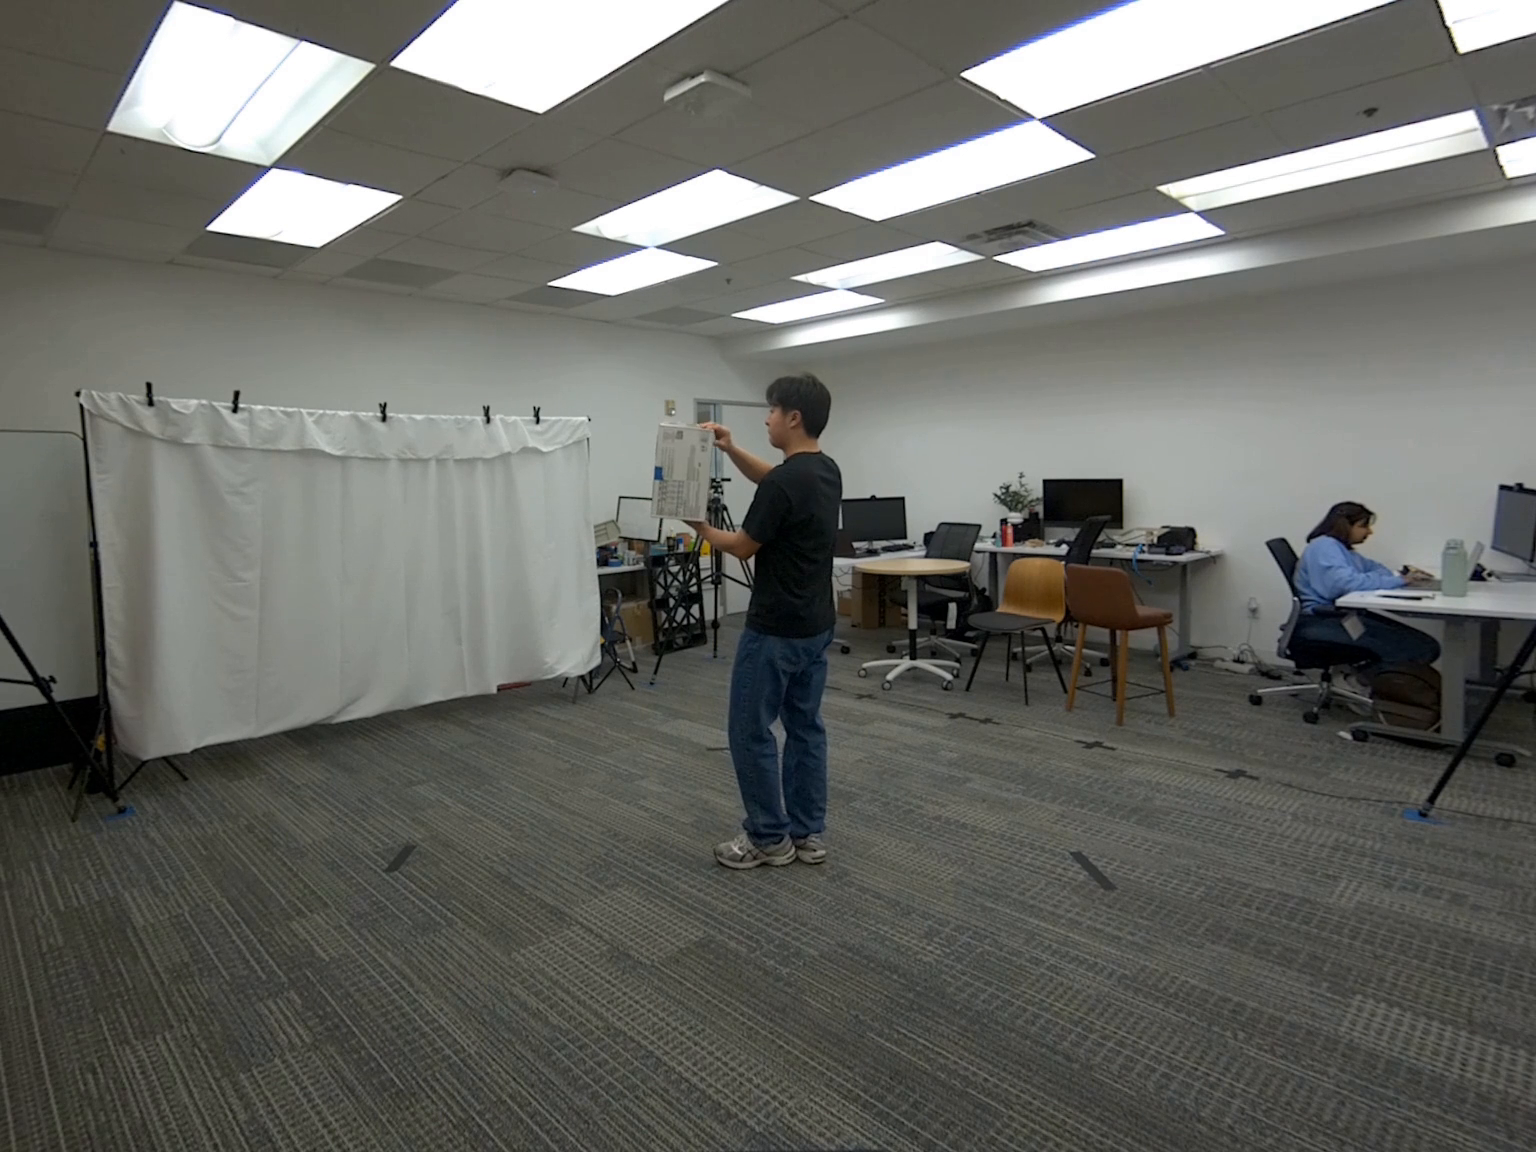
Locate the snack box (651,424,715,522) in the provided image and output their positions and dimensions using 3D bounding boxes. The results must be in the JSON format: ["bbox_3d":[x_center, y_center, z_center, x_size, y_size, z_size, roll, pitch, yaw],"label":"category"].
[{"bbox_3d":[-0.310,-0.410,3.295,0.205,0.338,0.409,5,9,-5],"label":"snack box"}]
